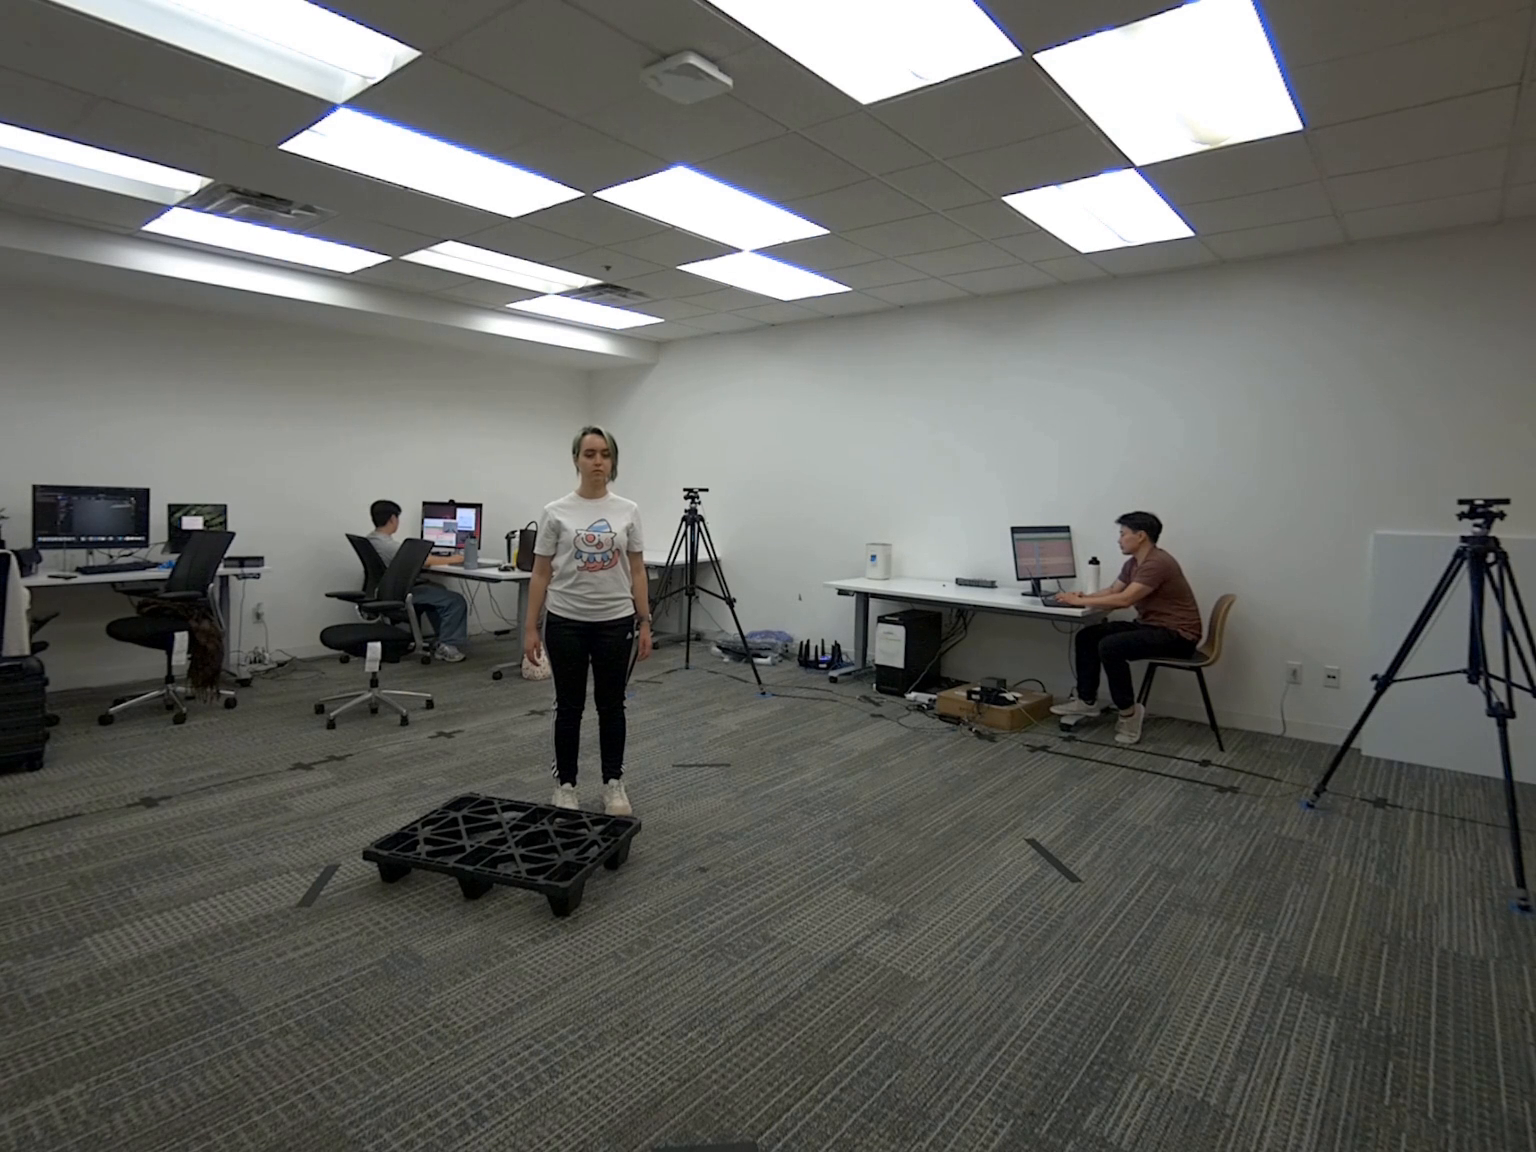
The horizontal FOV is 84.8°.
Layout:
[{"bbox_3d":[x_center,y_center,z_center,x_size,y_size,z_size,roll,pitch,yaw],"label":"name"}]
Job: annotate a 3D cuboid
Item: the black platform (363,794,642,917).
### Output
[{"bbox_3d":[-0.947,0.991,3.071,0.821,0.142,0.596,3,7,17],"label":"black platform"}]
